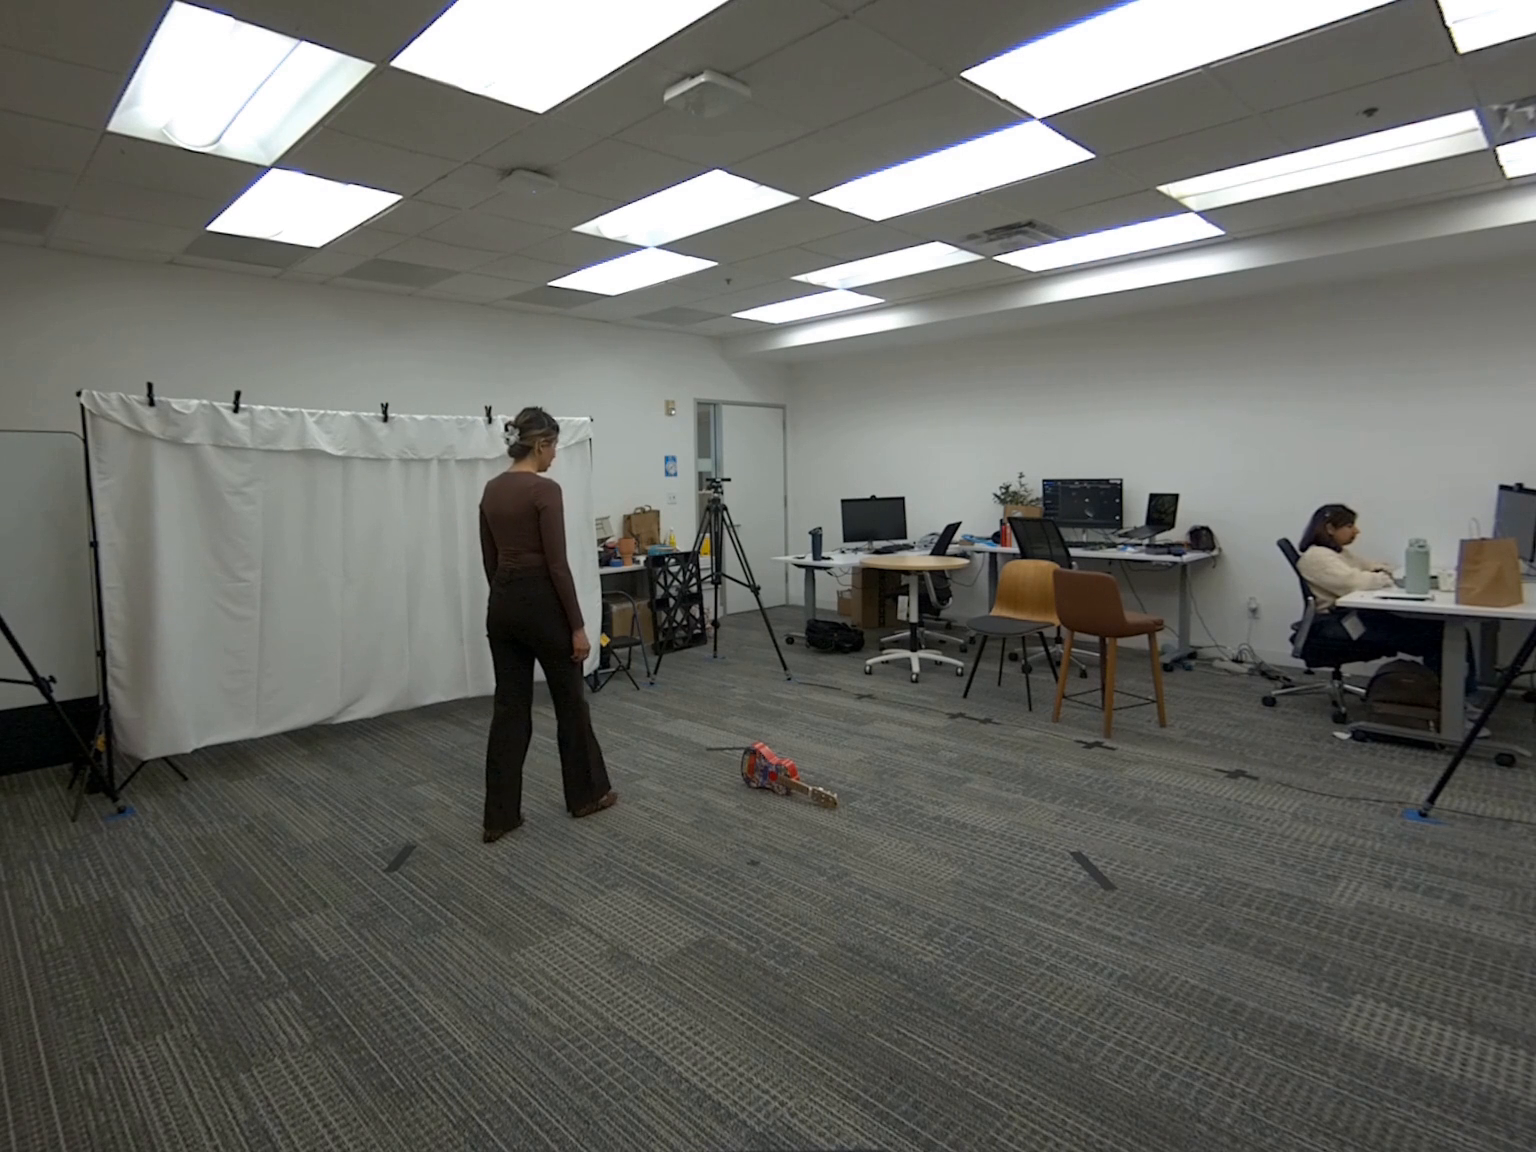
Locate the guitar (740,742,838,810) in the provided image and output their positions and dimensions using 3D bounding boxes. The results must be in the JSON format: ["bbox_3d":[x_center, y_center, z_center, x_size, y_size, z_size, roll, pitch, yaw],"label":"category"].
[{"bbox_3d":[0.093,0.923,3.770,0.515,0.191,0.069,24,19,32],"label":"guitar"}]
